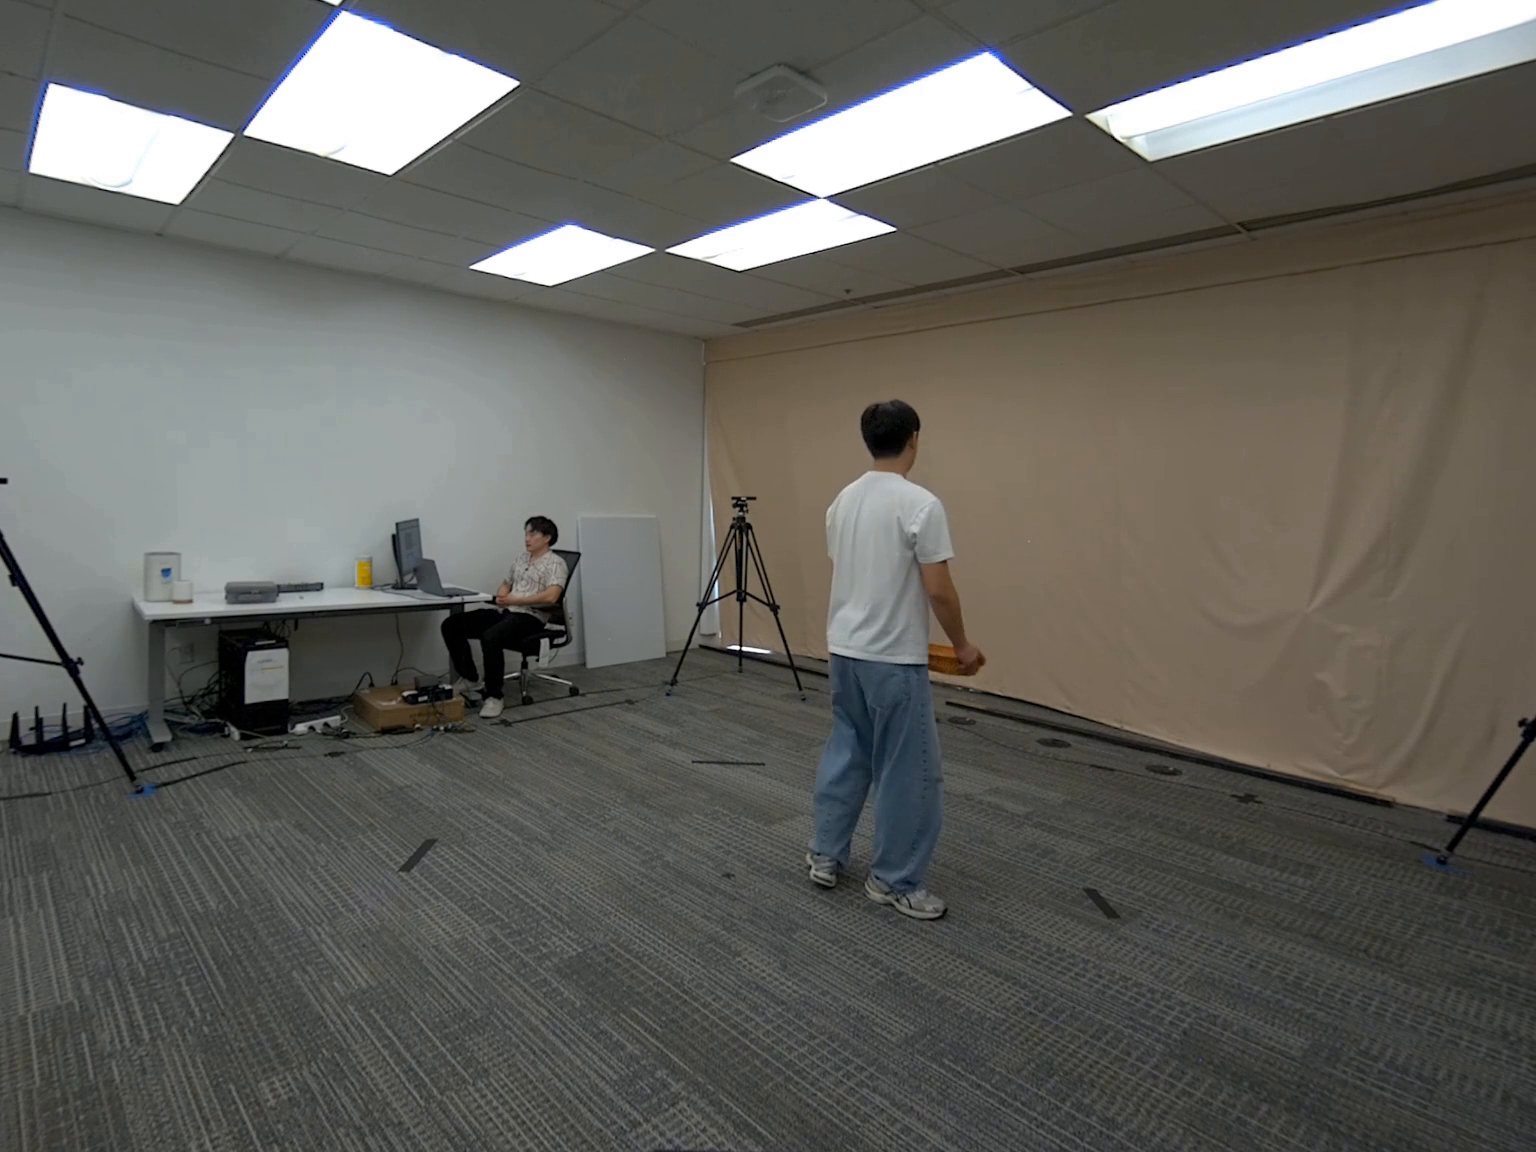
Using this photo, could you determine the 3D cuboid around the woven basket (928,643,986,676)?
[{"bbox_3d":[0.622,0.307,3.087,0.247,0.073,0.359,1,6,-32],"label":"woven basket"}]
